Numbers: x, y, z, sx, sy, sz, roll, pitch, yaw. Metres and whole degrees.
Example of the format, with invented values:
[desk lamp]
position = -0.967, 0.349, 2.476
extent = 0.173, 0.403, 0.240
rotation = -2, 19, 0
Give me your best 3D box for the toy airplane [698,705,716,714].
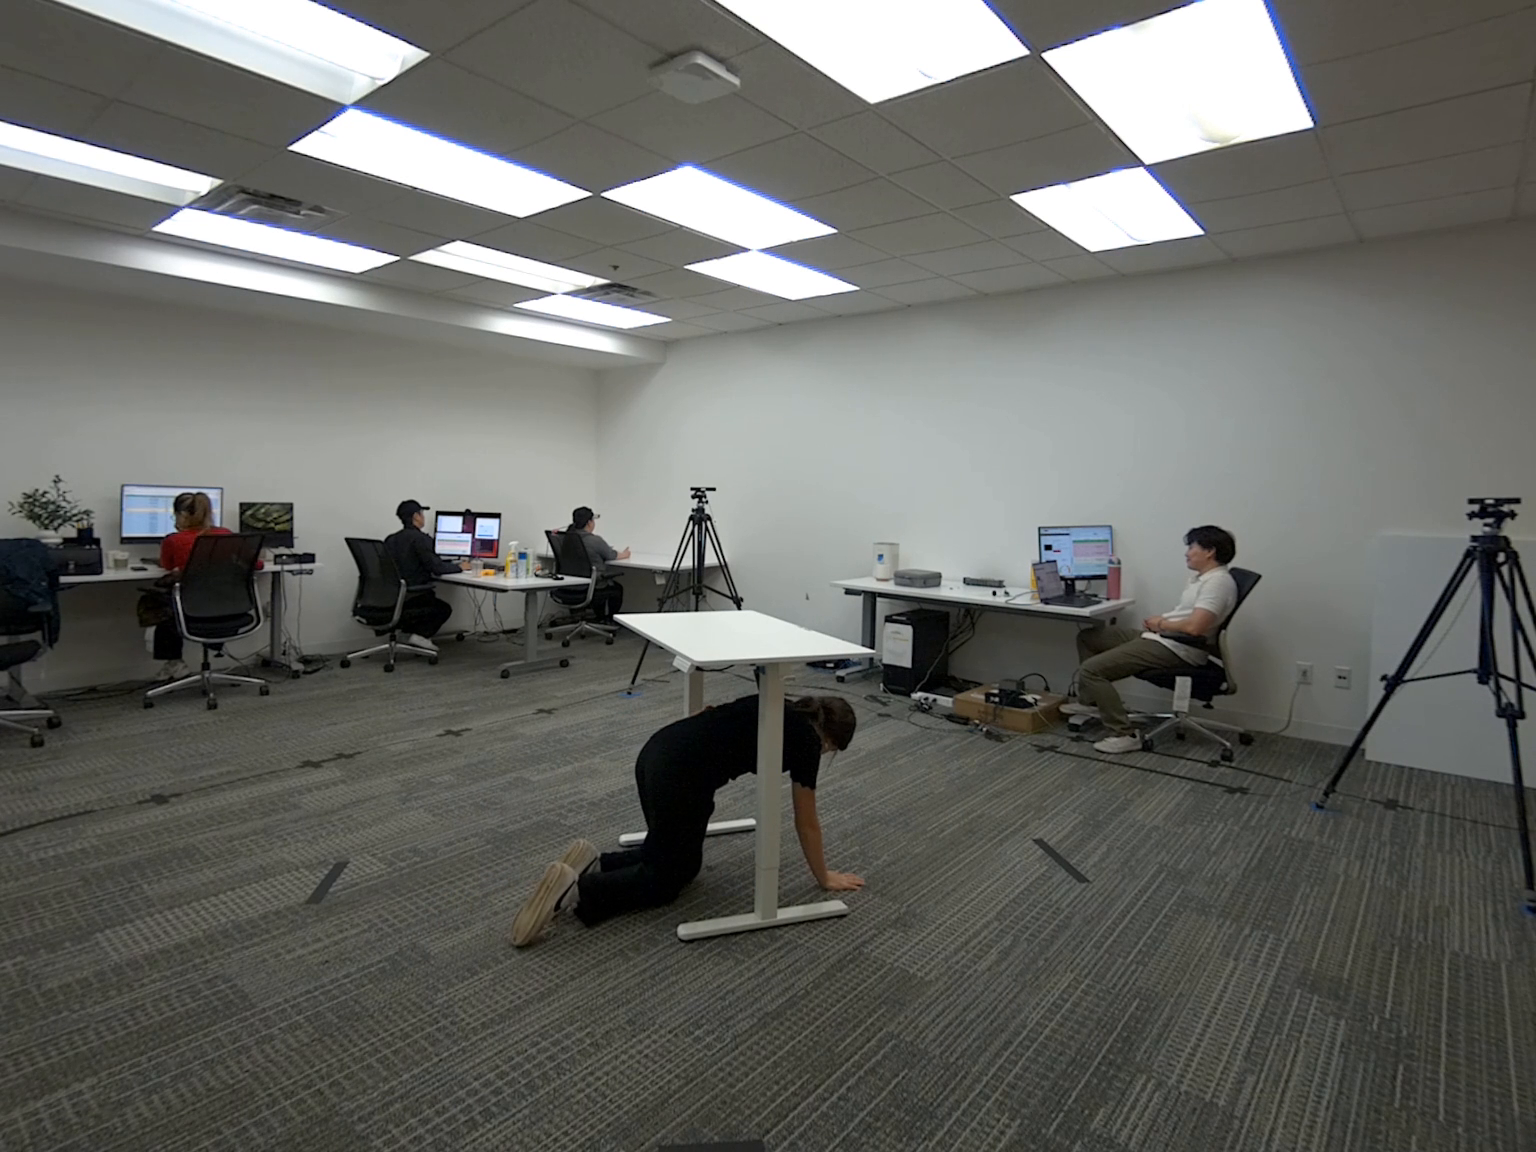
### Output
[toy airplane]
position = -0.193, 0.585, 3.130
extent = 0.254, 0.253, 0.158
rotation = -7, -7, -20
